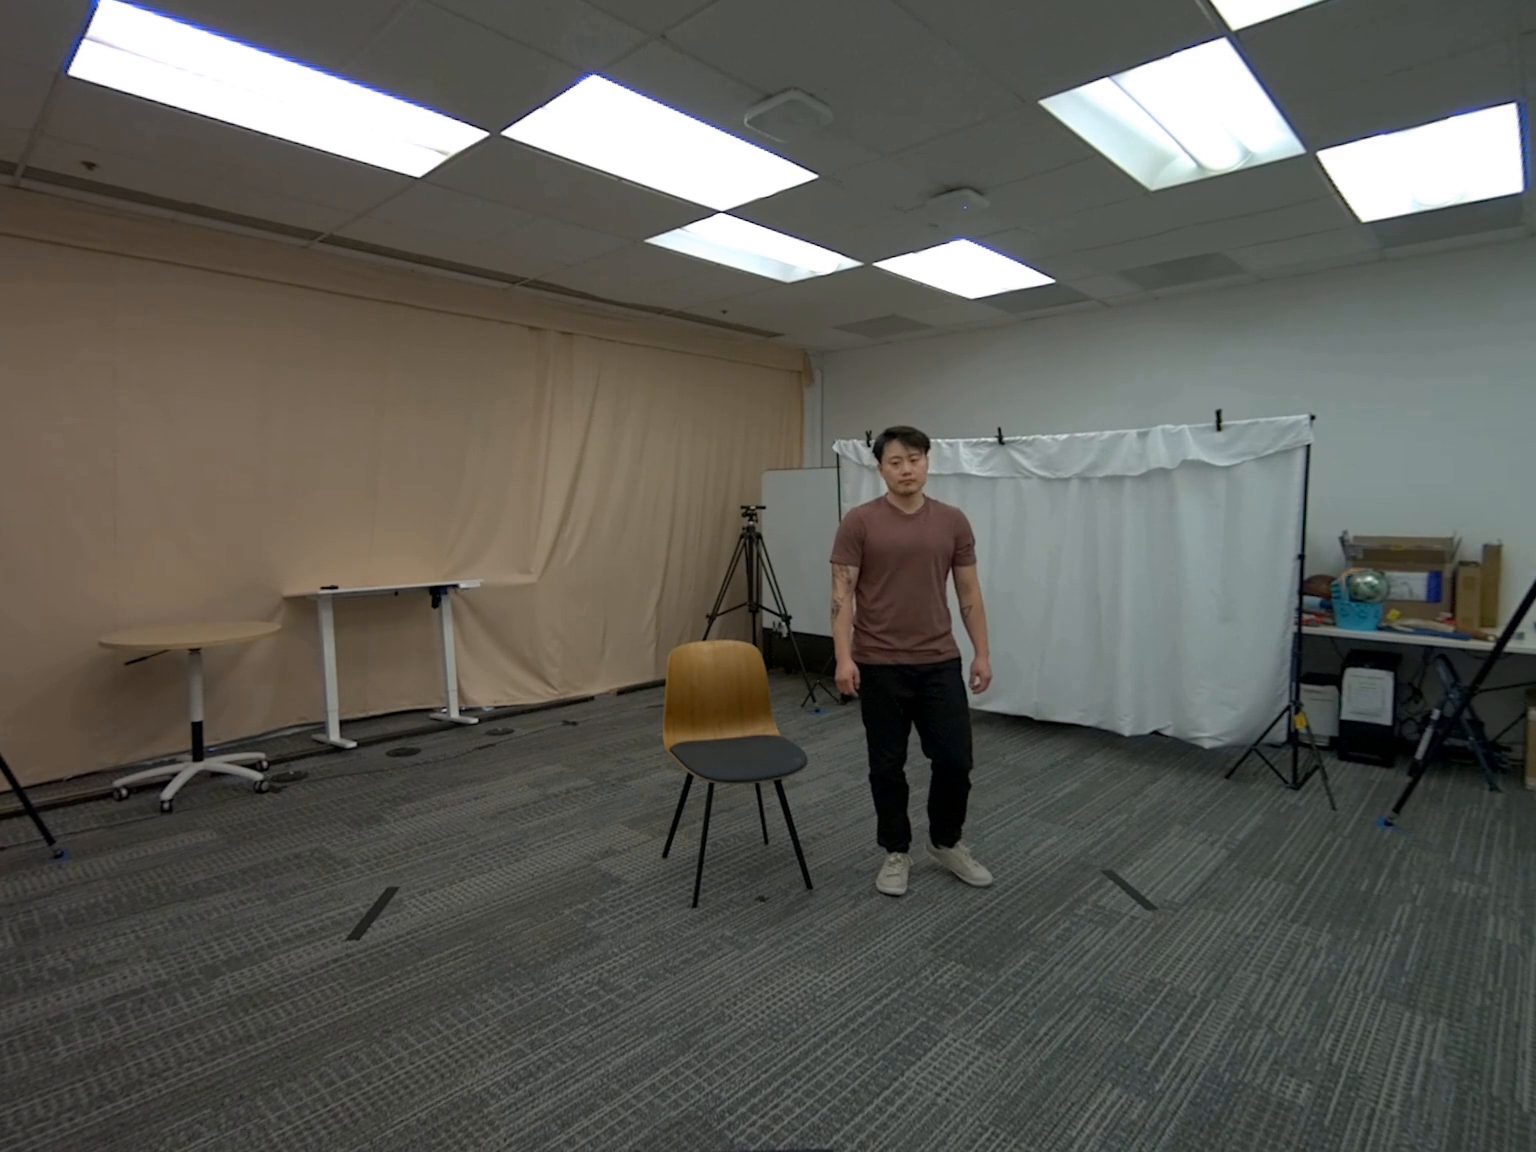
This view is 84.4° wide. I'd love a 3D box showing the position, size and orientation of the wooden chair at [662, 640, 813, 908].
[{"bbox_3d":[-0.124,0.704,3.162,0.469,0.877,0.533,-1,0,-19],"label":"wooden chair"}]
